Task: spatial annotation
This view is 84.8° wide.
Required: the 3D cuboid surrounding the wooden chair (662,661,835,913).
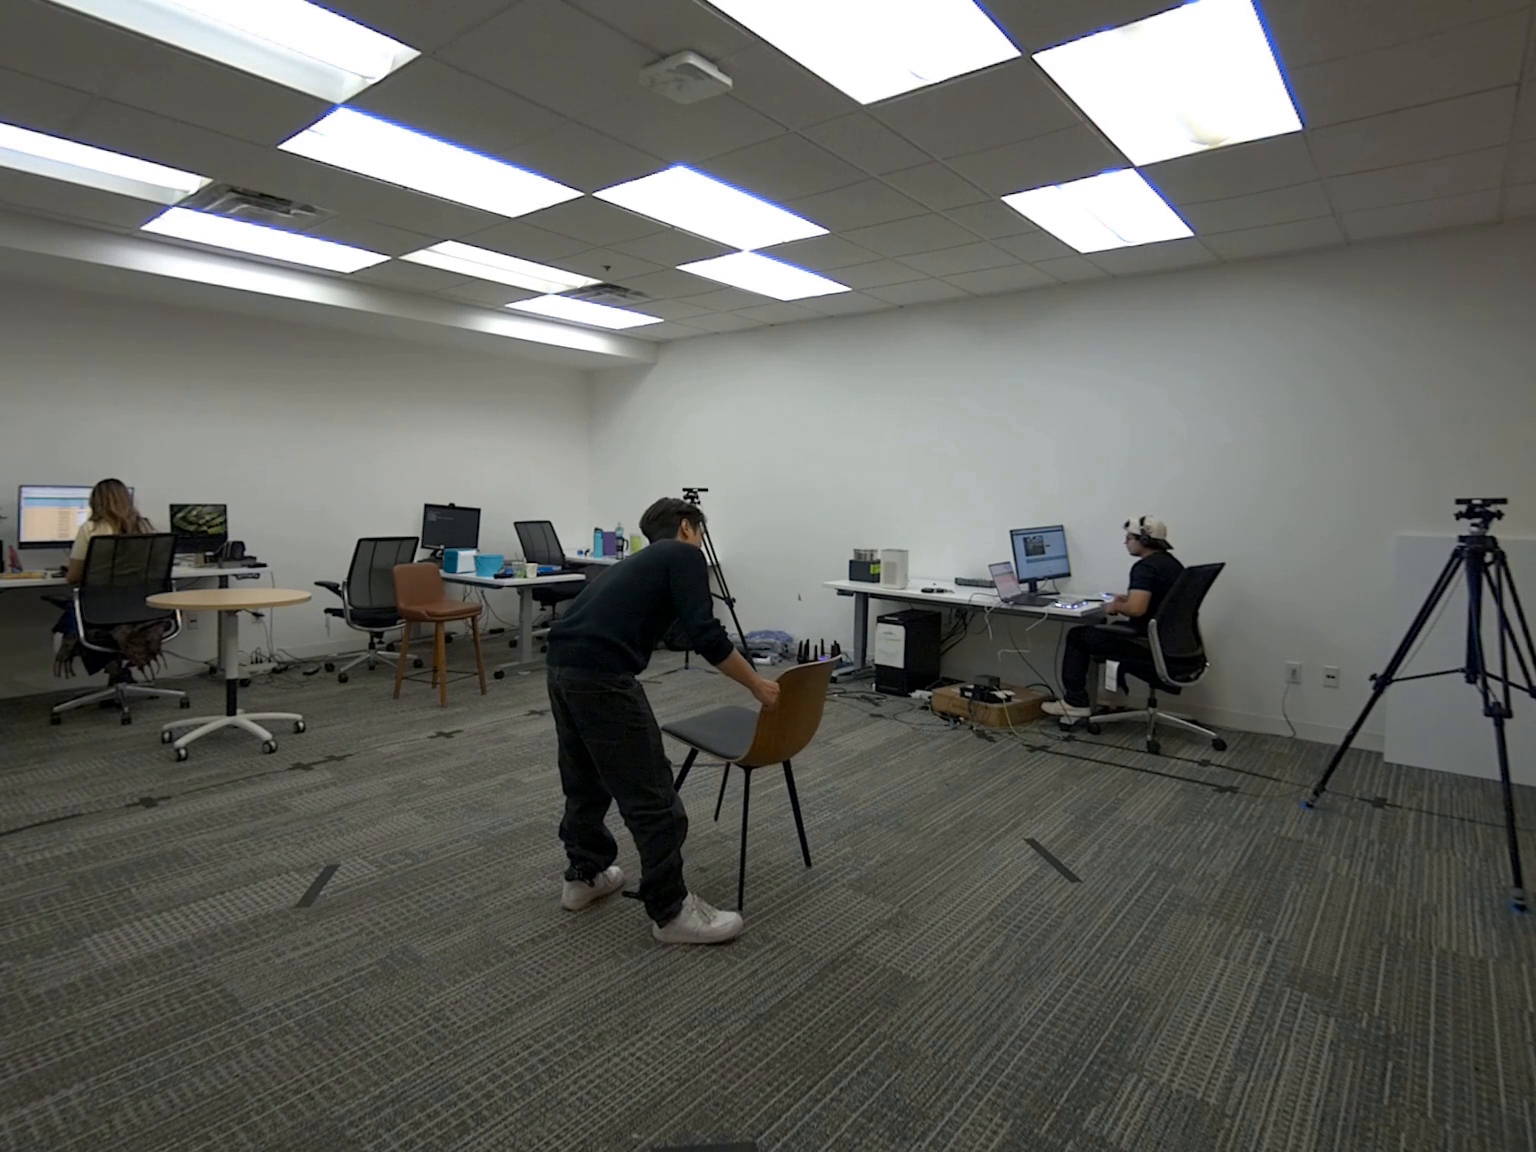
[{"bbox_3d":[-0.106,0.620,3.056,0.543,0.870,0.464,19,13,34],"label":"wooden chair"}]
